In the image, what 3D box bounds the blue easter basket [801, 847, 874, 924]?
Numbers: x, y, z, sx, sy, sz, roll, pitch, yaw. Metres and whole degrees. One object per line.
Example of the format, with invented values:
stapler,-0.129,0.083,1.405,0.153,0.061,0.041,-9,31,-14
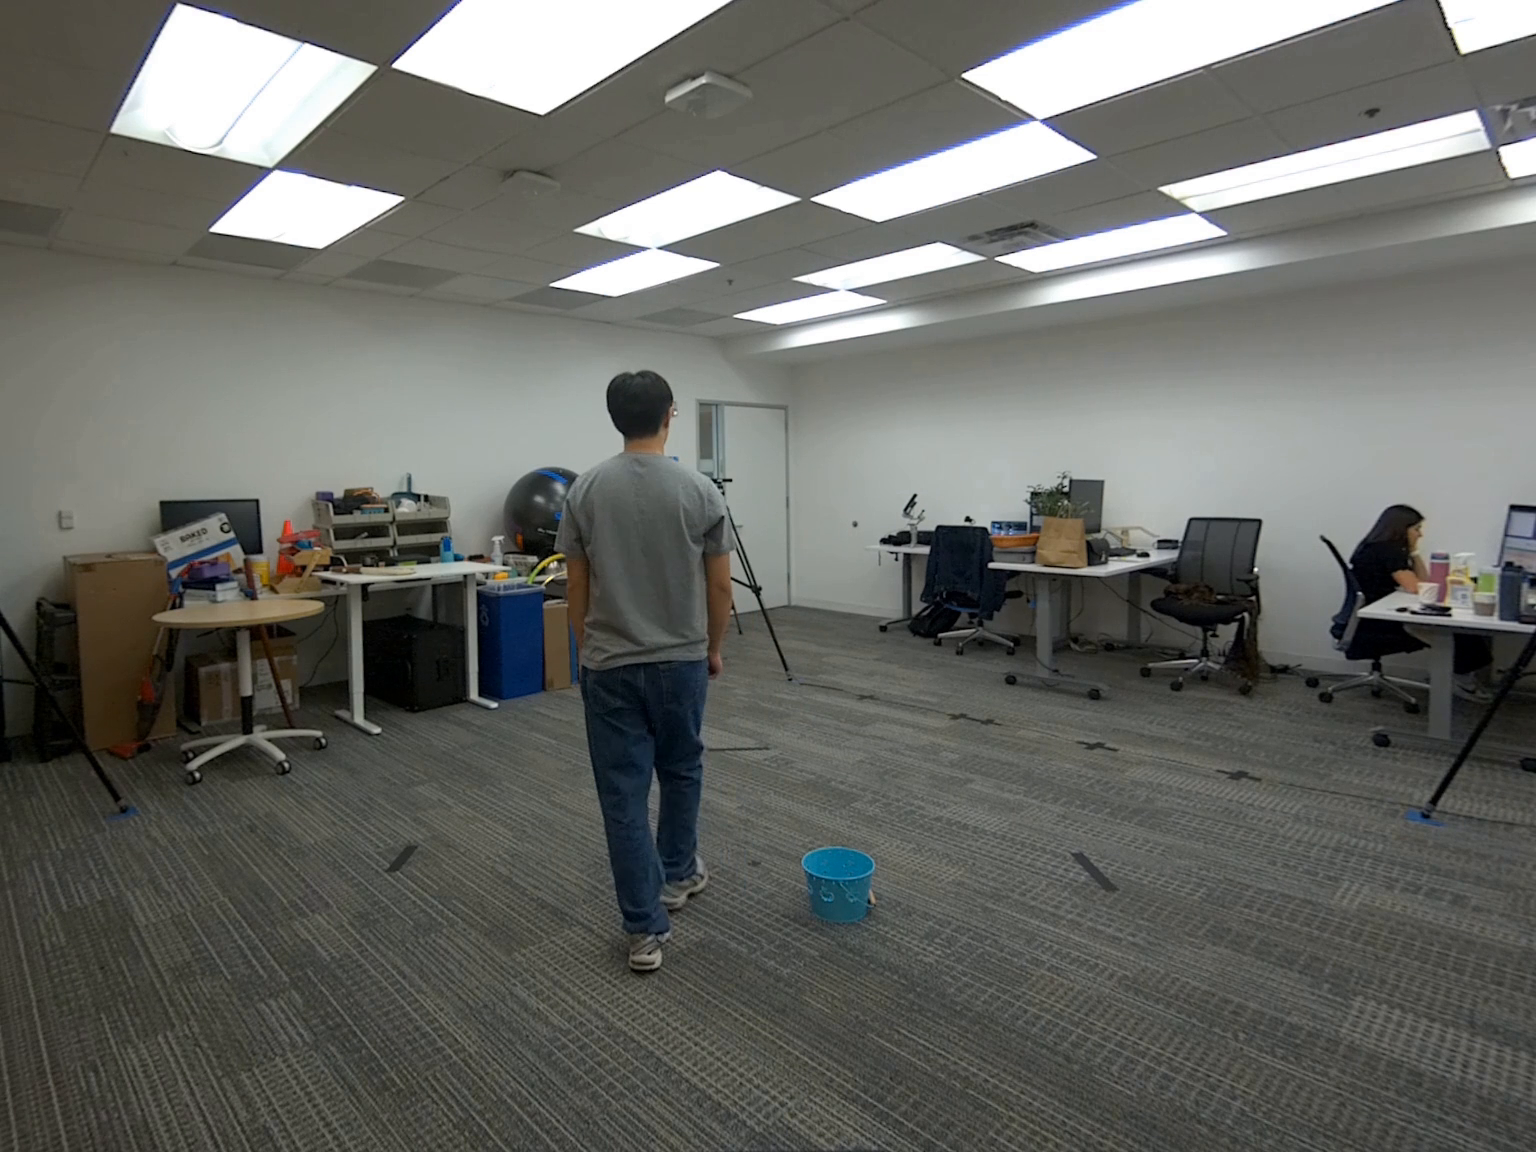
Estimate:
blue easter basket,0.234,1.000,2.759,0.243,0.155,0.245,-1,5,-2
